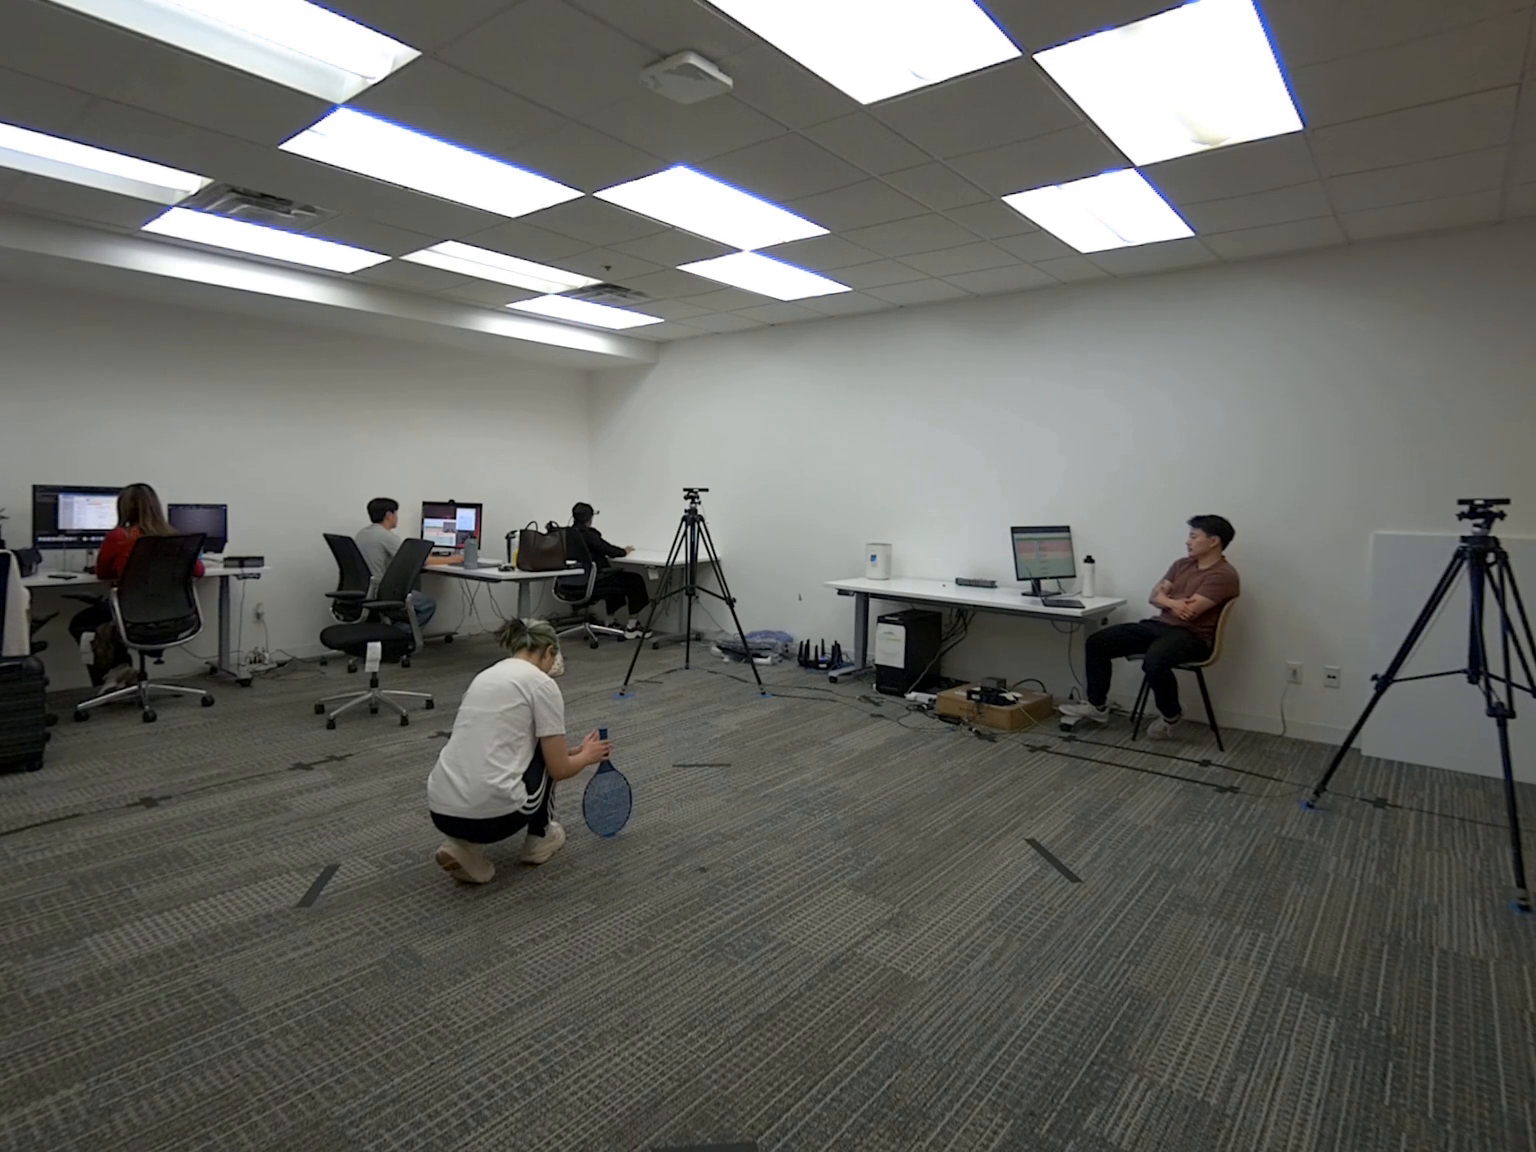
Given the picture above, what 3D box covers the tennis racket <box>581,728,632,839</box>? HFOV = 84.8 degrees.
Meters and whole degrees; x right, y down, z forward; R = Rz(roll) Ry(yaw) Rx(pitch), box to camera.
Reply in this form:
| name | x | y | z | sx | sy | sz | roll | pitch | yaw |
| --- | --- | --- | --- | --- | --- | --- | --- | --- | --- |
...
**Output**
| name | x | y | z | sx | sy | sz | roll | pitch | yaw |
| --- | --- | --- | --- | --- | --- | --- | --- | --- | --- |
| tennis racket | -0.651 | 0.819 | 3.390 | 0.208 | 0.431 | 0.032 | -6 | 3 | -31 |
